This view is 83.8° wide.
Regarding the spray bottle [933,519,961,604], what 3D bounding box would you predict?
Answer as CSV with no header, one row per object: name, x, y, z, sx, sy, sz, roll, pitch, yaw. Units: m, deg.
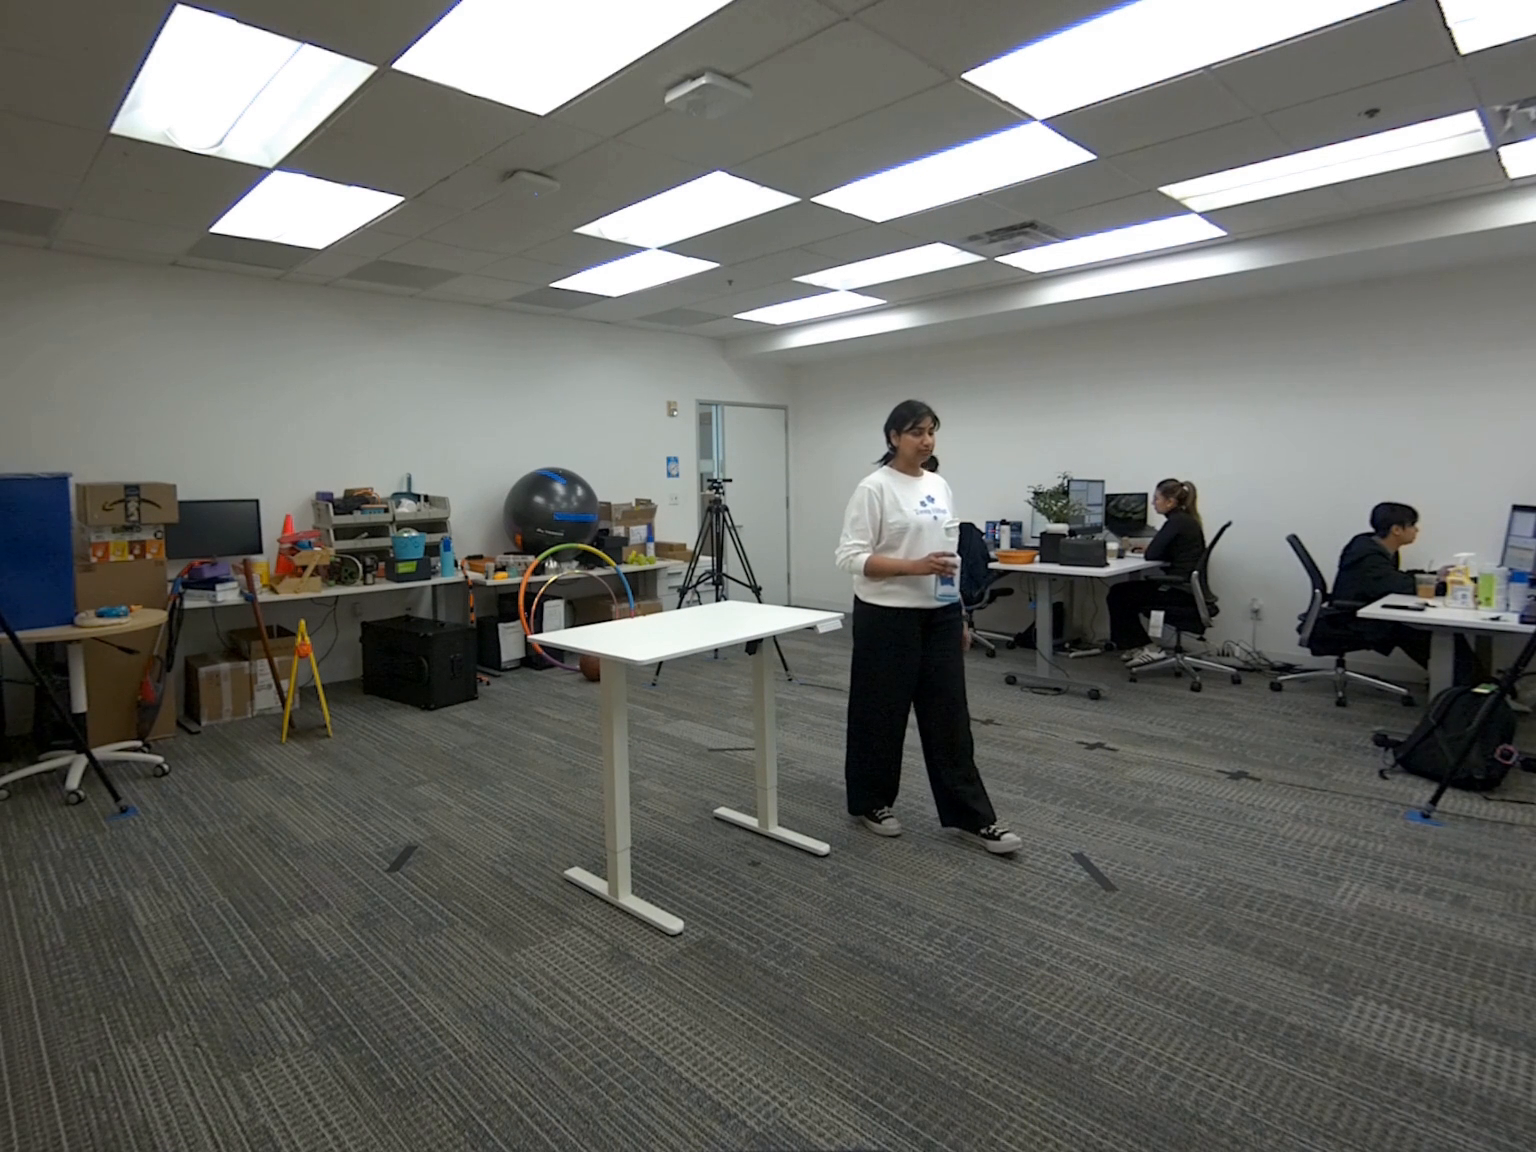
spray bottle,0.653,-0.055,3.086,0.089,0.297,0.088,2,2,-15
